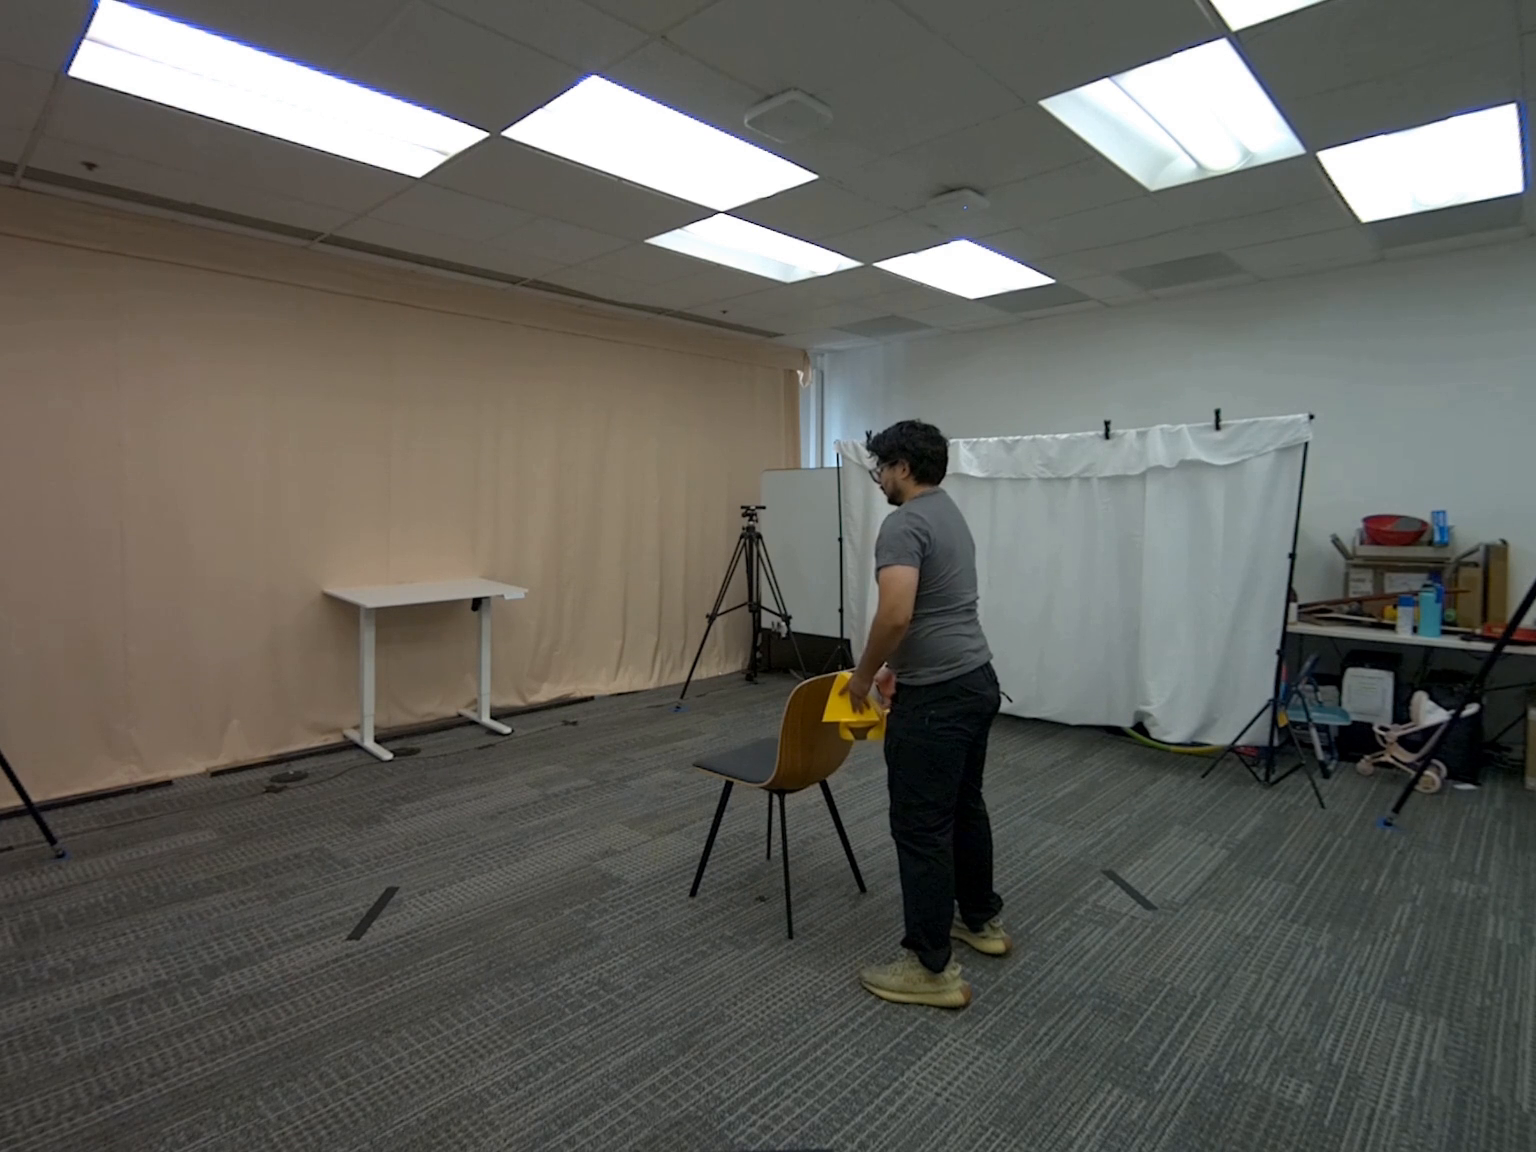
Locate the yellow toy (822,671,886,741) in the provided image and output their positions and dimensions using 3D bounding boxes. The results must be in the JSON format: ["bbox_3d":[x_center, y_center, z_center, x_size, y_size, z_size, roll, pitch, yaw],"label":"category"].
[{"bbox_3d":[0.289,0.381,2.660,0.210,0.228,0.190,-10,14,37],"label":"yellow toy"}]
